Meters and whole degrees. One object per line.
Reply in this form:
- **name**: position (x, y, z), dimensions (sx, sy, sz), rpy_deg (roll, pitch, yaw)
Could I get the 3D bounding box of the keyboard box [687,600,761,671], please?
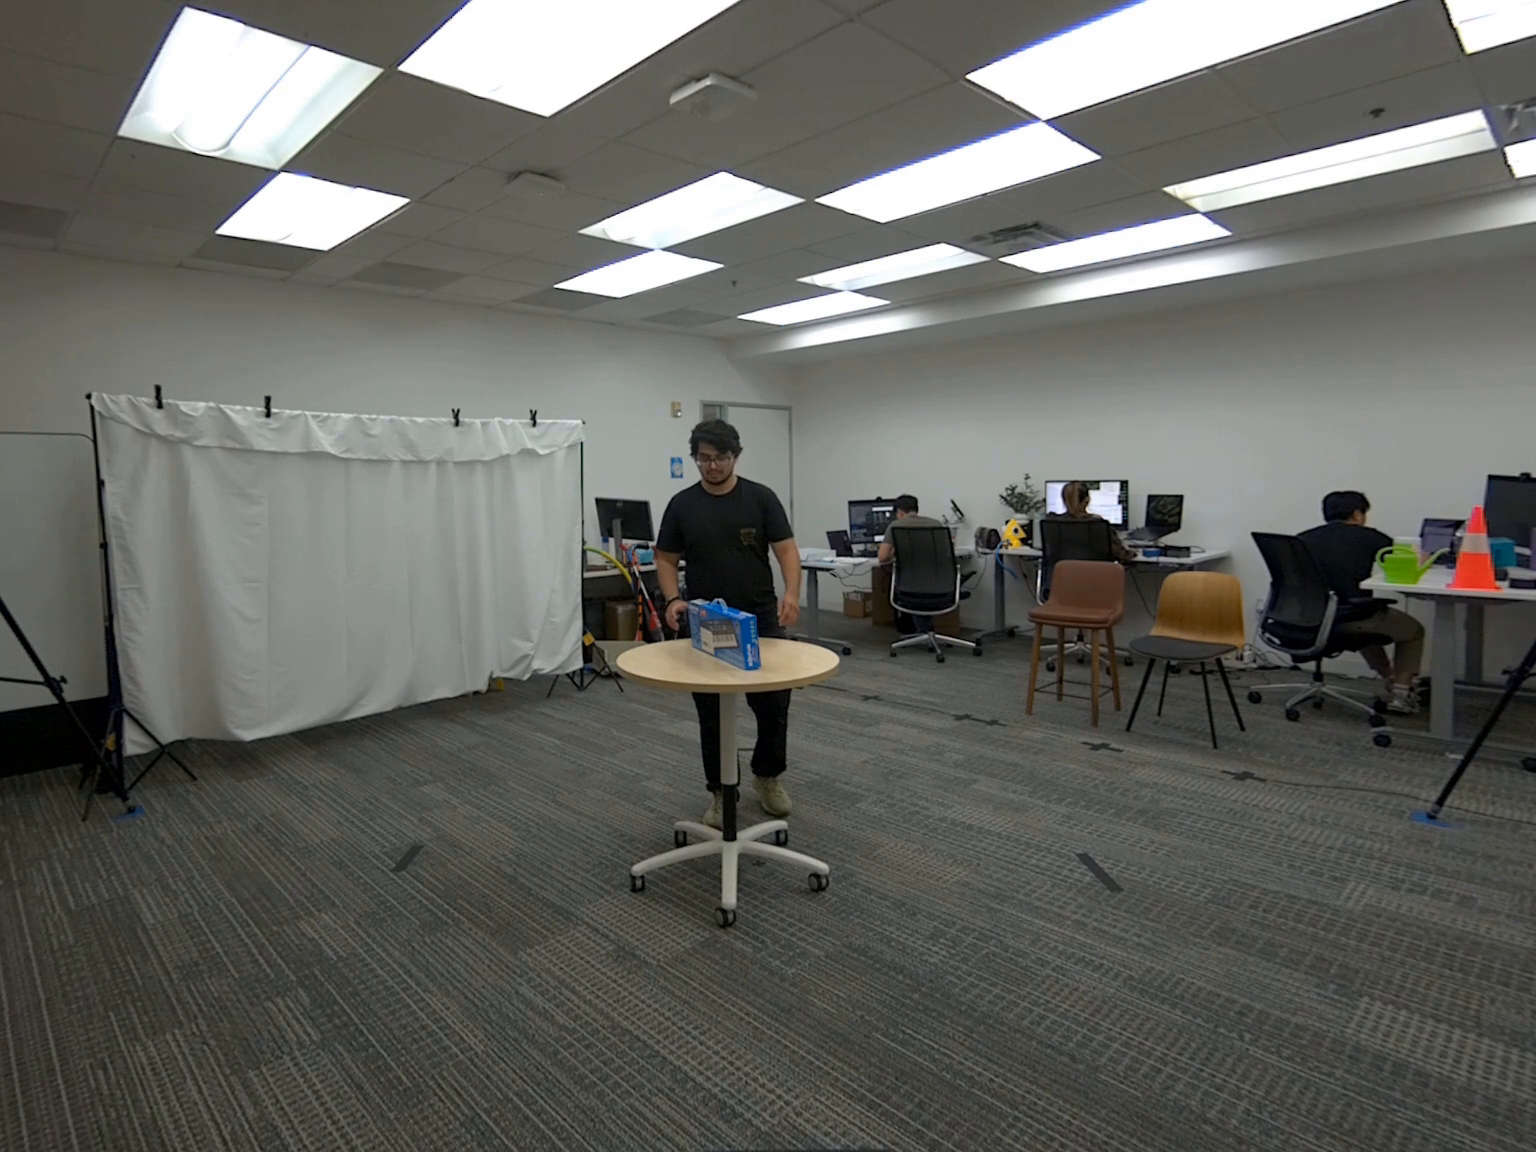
- **keyboard box**: position (-0.162, 0.200, 2.949), dimensions (0.058, 0.175, 0.448), rpy_deg (-8, 9, -26)
